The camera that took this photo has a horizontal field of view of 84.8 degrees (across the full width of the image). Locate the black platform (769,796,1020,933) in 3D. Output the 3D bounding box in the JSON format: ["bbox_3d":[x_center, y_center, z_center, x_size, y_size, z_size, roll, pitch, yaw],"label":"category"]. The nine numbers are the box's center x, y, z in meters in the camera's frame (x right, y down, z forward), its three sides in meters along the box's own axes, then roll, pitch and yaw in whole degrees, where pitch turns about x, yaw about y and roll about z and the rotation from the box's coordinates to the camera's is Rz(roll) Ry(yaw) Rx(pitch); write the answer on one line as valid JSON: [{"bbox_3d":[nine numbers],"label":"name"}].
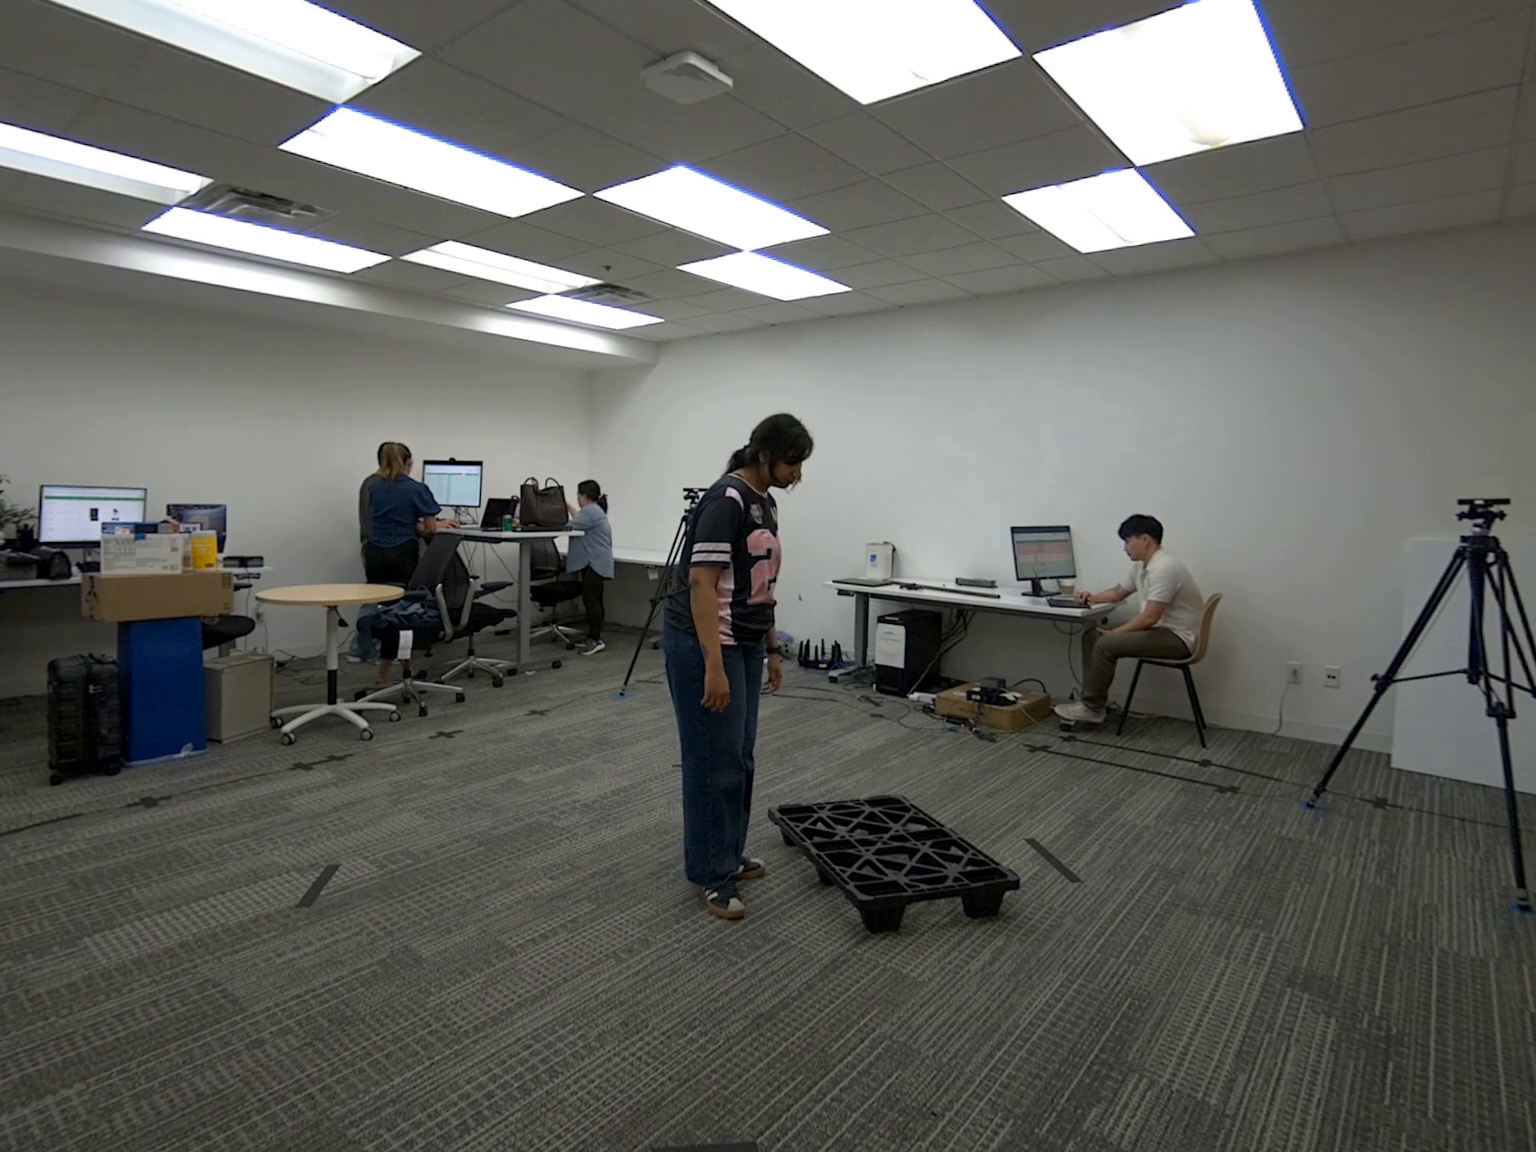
[{"bbox_3d":[0.406,1.018,3.088,0.593,0.143,0.824,-1,6,-20],"label":"black platform"}]
